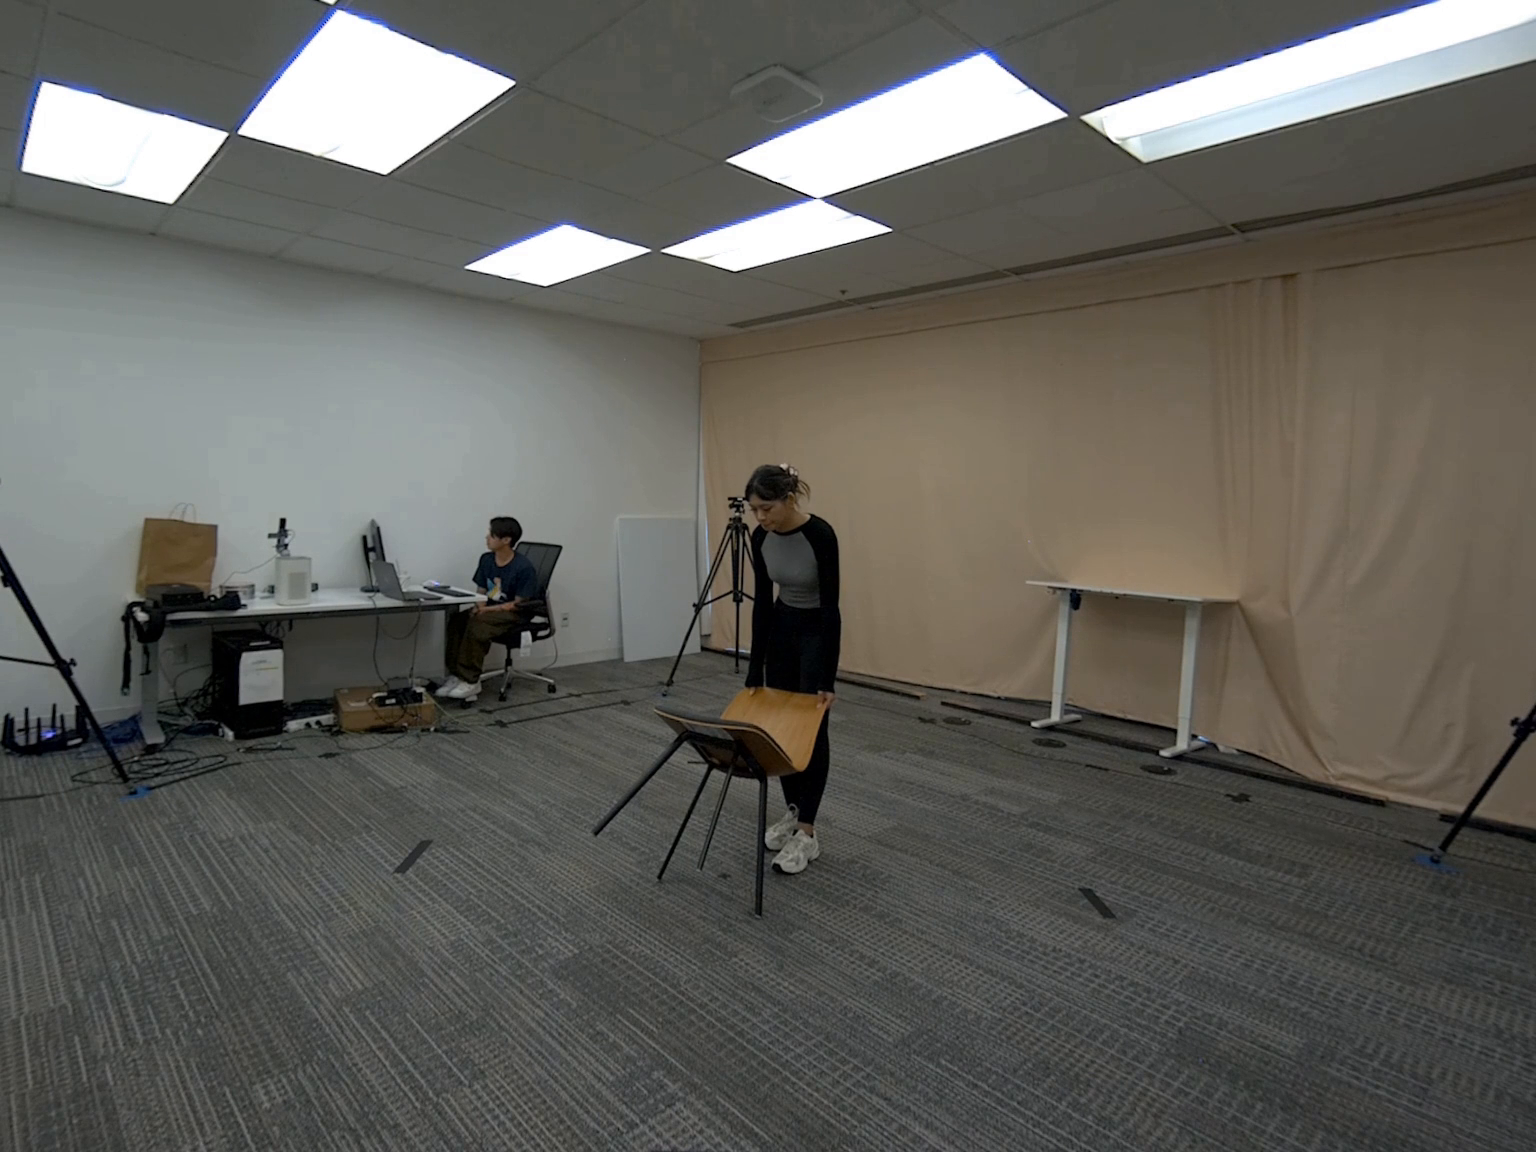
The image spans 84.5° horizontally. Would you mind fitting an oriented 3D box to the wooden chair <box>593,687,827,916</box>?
[{"bbox_3d":[-0.160,0.641,2.968,0.489,0.883,0.507,3,-38,34],"label":"wooden chair"}]
